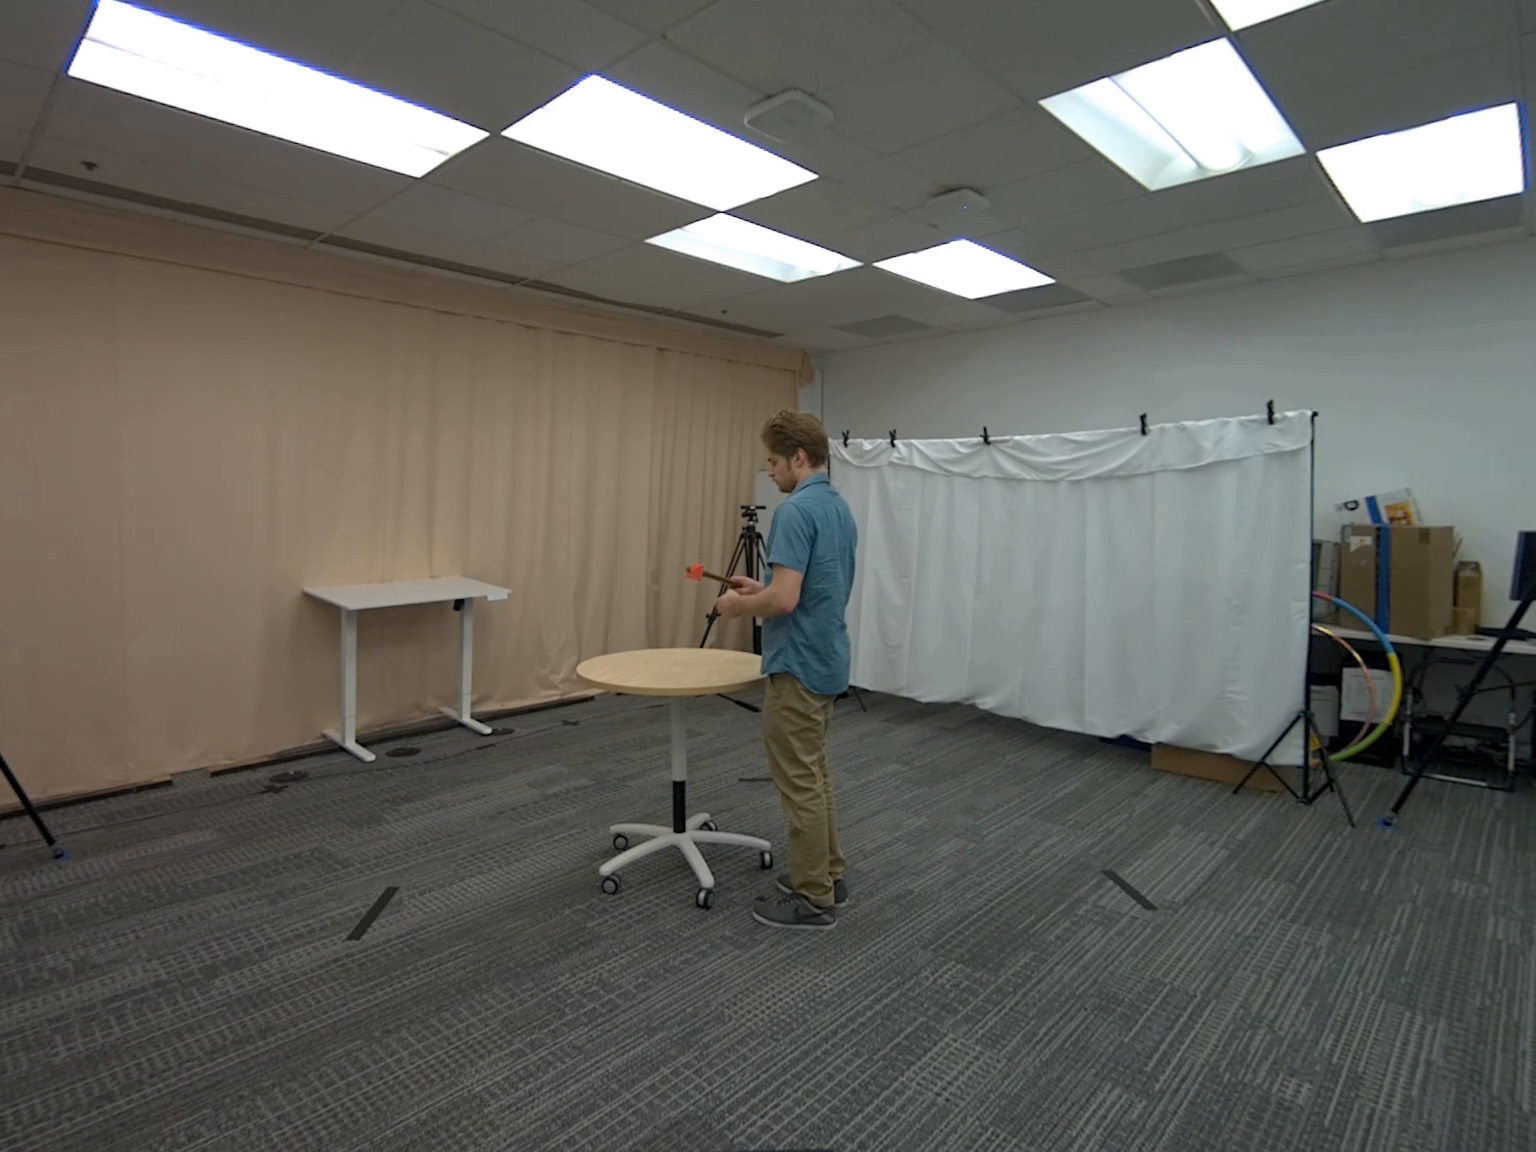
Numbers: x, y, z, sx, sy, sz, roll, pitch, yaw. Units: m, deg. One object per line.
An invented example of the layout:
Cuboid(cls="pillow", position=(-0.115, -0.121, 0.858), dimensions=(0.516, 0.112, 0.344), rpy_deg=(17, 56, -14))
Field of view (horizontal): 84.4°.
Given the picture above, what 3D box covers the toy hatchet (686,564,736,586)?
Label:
Cuboid(cls="toy hatchet", position=(-0.179, 0.025, 3.002), dimensions=(0.261, 0.030, 0.134), rpy_deg=(27, -31, -33))
